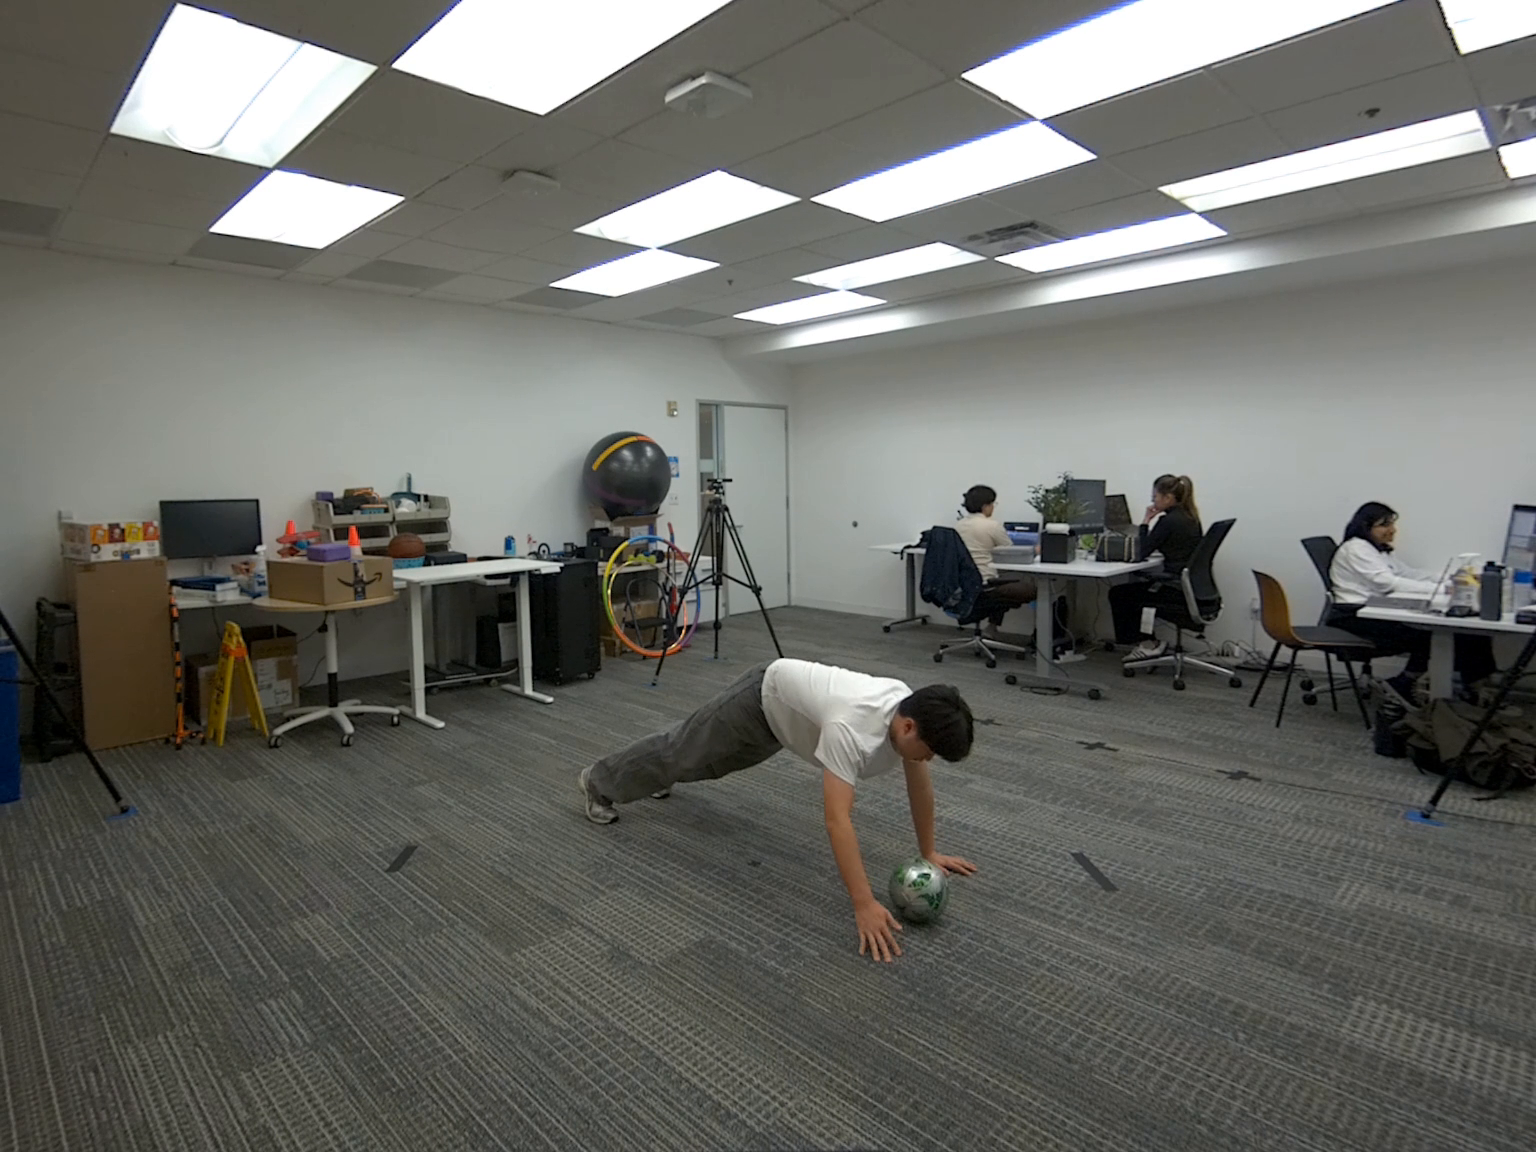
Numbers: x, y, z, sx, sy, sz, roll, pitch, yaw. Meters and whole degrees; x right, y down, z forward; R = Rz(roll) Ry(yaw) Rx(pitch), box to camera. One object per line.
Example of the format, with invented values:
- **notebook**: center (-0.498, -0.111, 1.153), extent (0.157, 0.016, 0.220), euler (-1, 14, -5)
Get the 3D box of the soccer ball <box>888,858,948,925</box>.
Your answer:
- **soccer ball**: center (0.481, 0.994, 2.697), extent (0.187, 0.187, 0.188), euler (-1, 5, -2)
